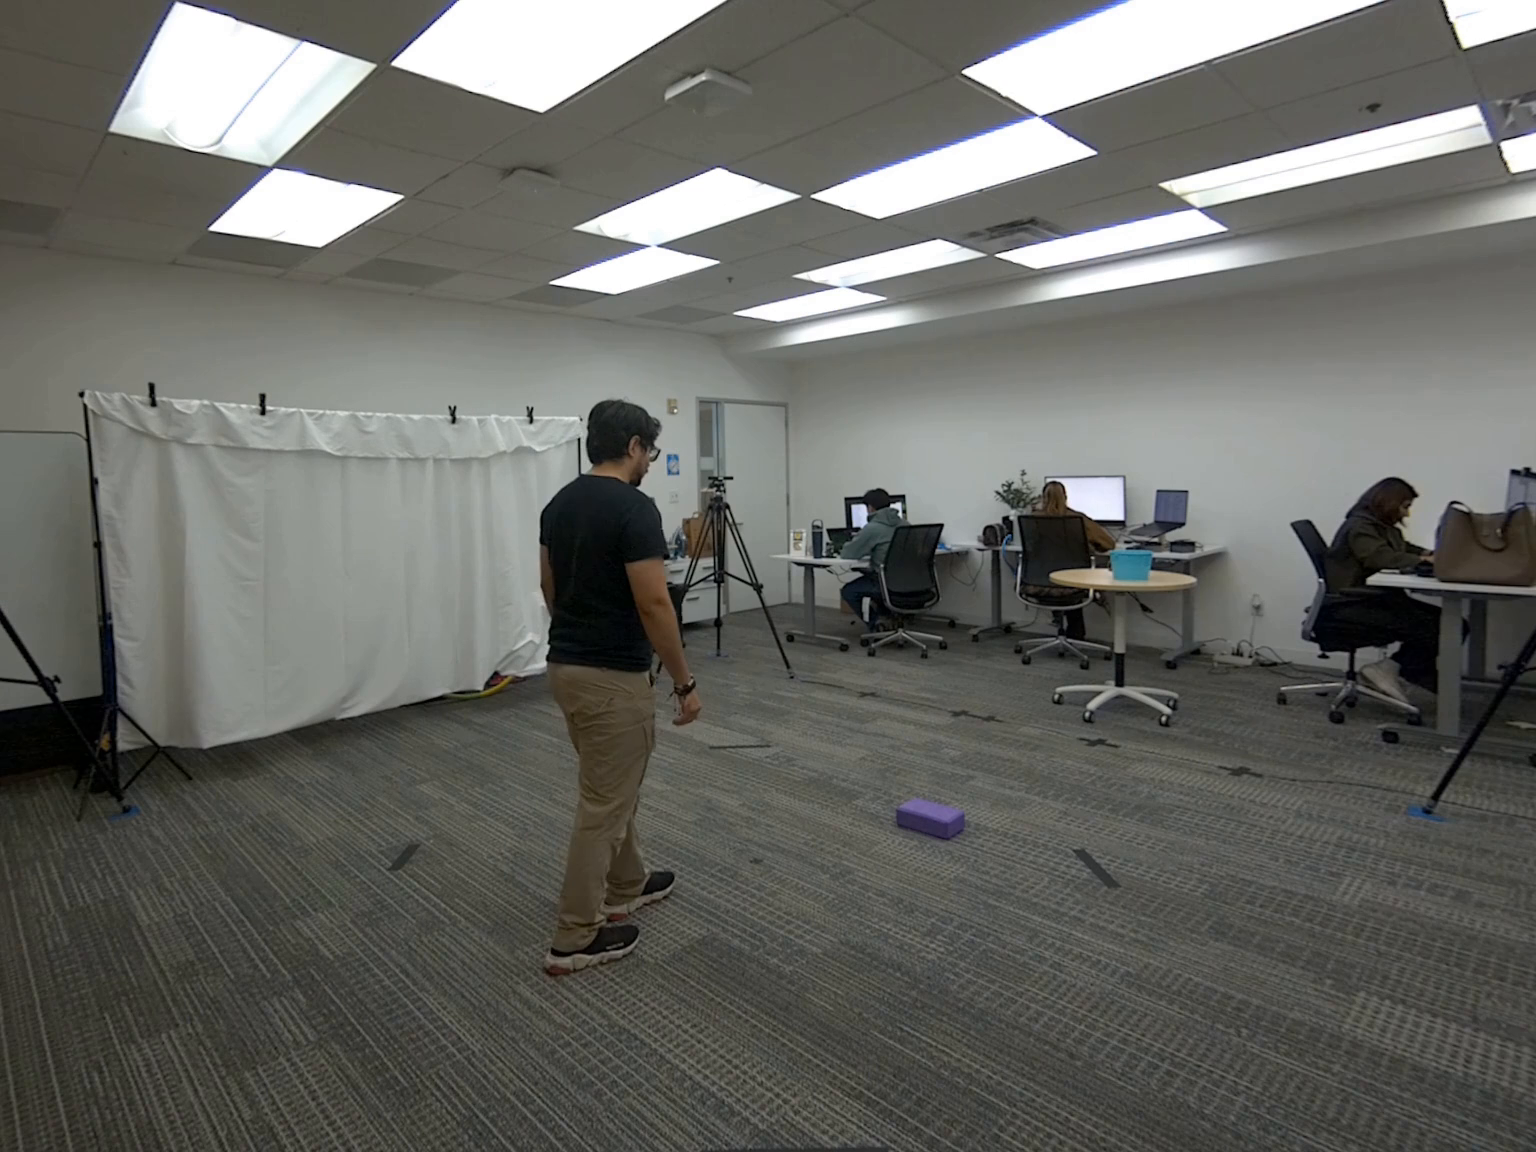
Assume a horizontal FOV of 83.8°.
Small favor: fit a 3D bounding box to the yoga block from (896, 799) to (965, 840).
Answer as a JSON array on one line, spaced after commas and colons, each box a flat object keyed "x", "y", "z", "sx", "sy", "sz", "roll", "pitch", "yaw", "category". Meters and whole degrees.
[{"x": 0.643, "y": 0.954, "z": 3.371, "sx": 0.236, "sy": 0.076, "sz": 0.145, "roll": 5, "pitch": 8, "yaw": 42, "category": "yoga block"}]
